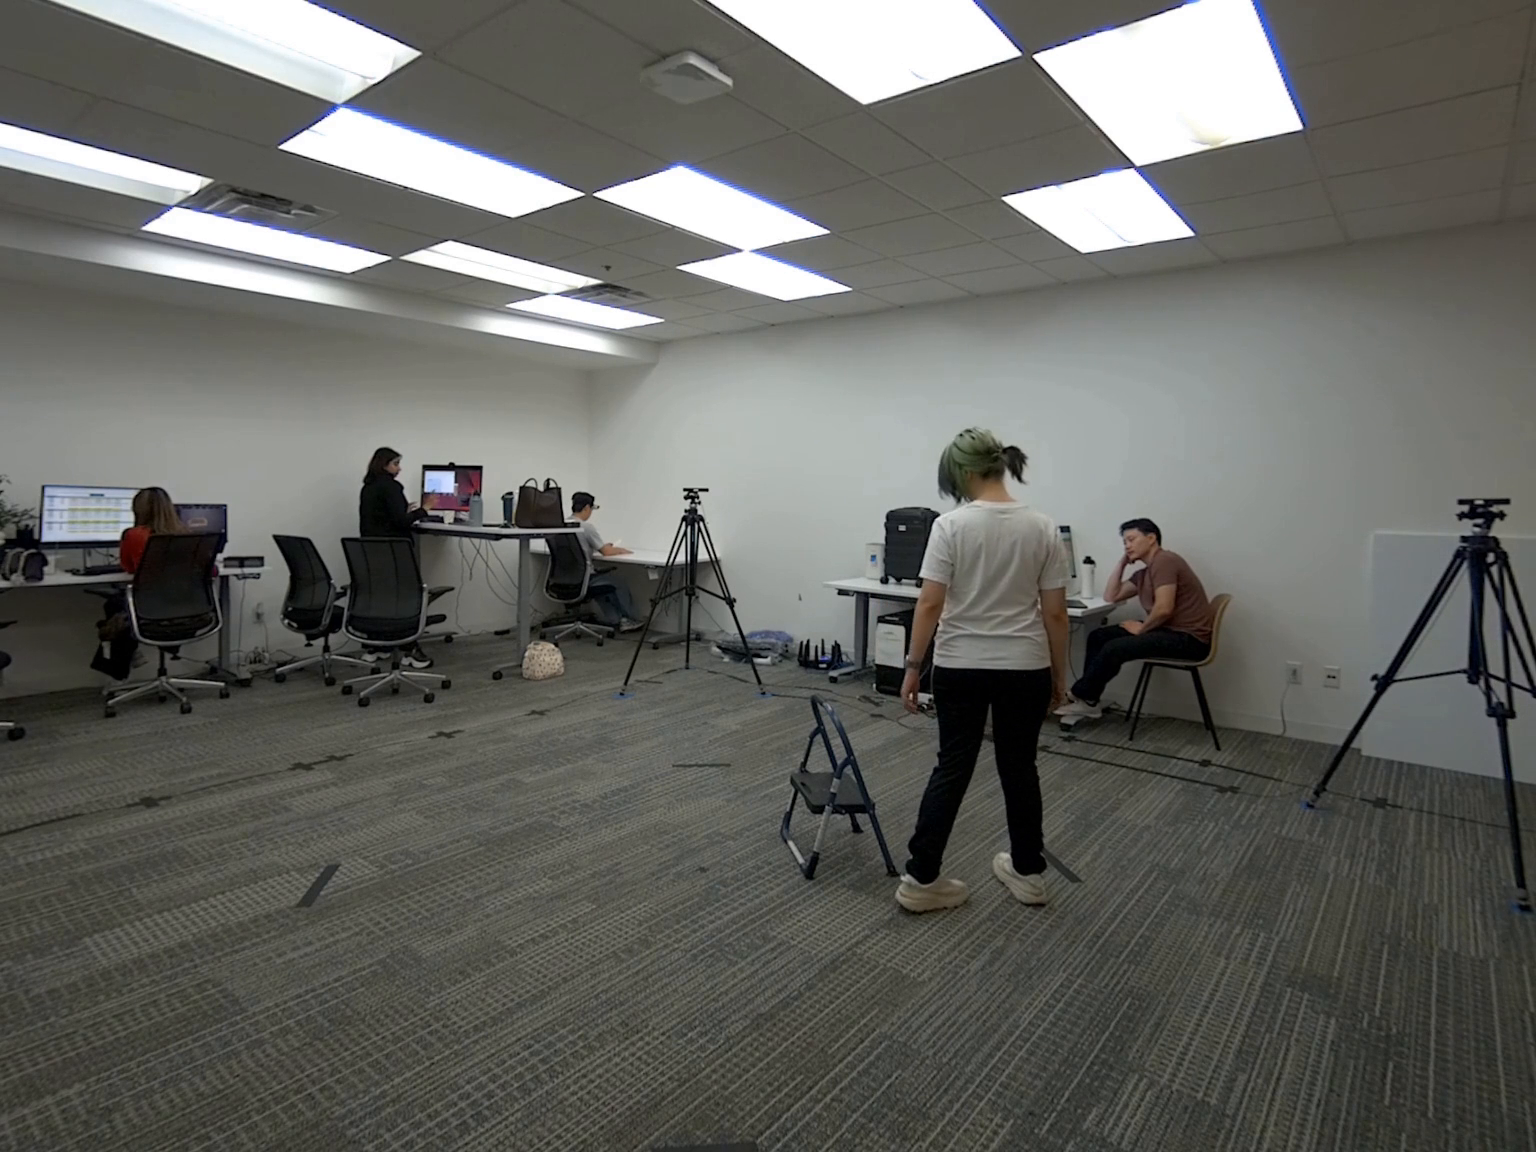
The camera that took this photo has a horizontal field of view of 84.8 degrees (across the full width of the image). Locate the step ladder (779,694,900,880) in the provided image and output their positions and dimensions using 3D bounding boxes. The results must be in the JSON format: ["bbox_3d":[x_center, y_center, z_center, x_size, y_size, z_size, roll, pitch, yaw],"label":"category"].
[{"bbox_3d":[0.259,0.764,3.255,0.345,0.604,0.437,1,4,-12],"label":"step ladder"}]
